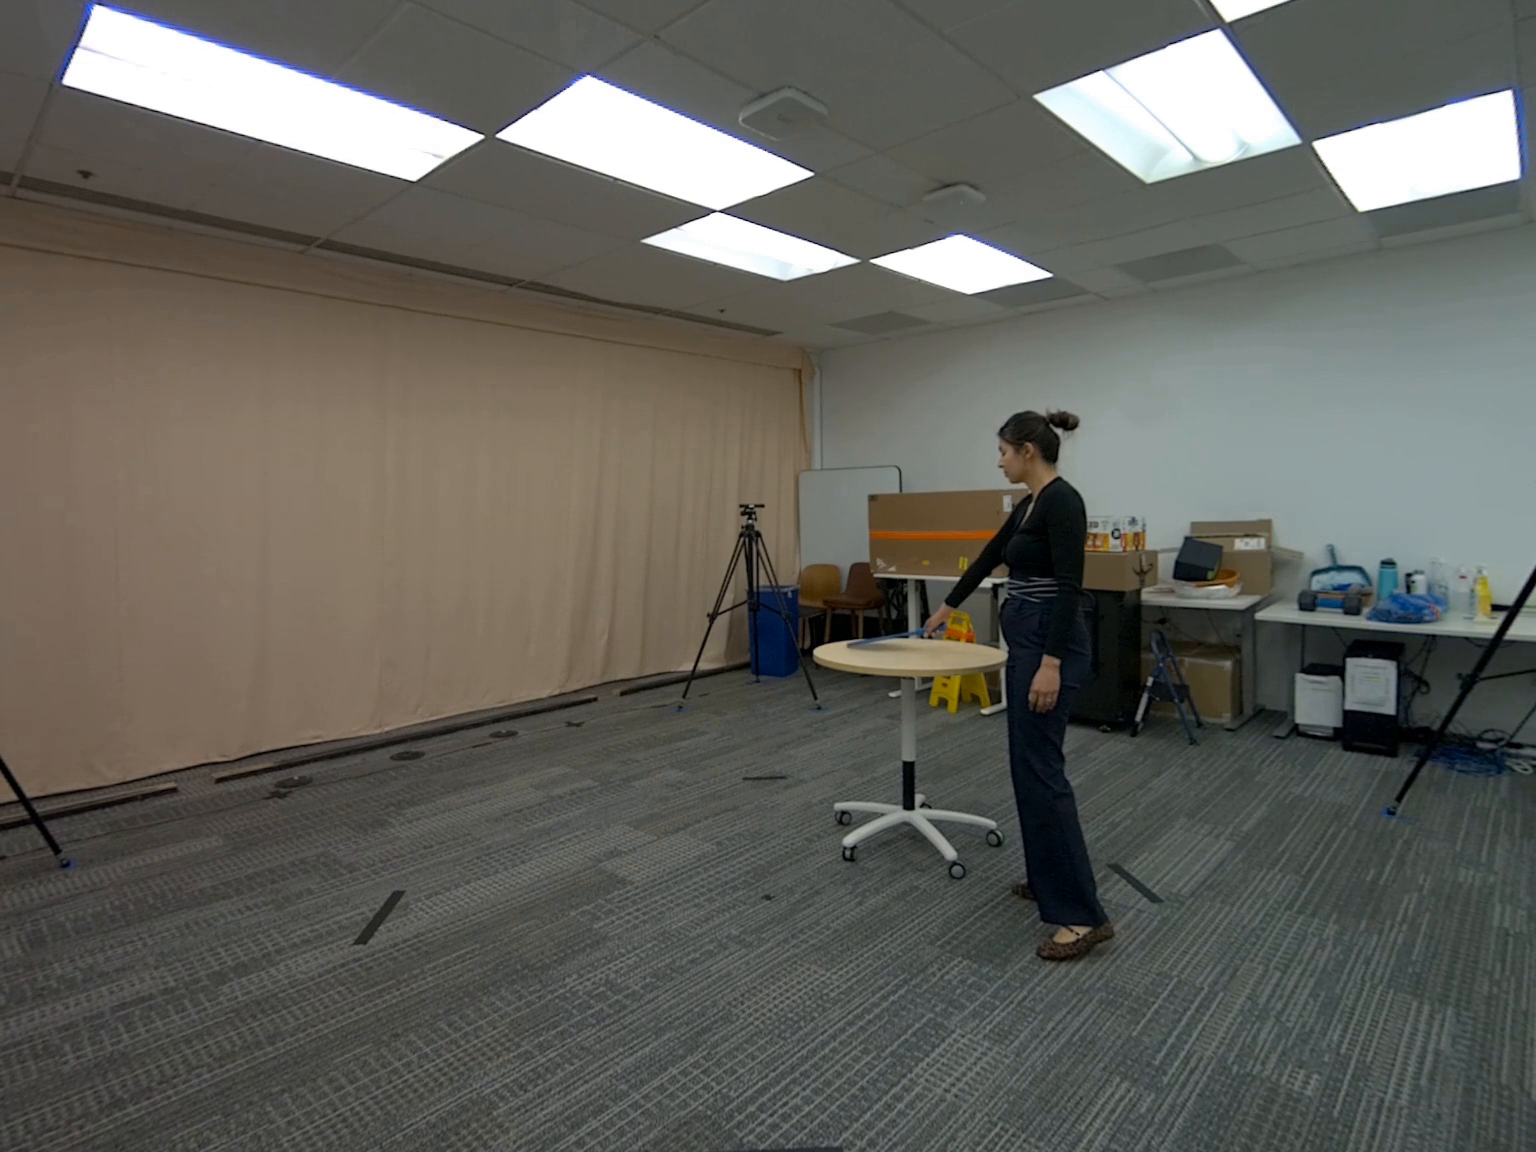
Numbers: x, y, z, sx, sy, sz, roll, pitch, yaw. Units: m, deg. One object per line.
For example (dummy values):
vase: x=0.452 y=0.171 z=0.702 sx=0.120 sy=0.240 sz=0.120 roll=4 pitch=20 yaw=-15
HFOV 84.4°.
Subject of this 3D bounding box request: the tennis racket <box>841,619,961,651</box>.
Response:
tennis racket: x=0.544 y=0.243 z=3.498 sx=0.443 sy=0.032 sz=0.207 roll=-15 pitch=-6 yaw=34
